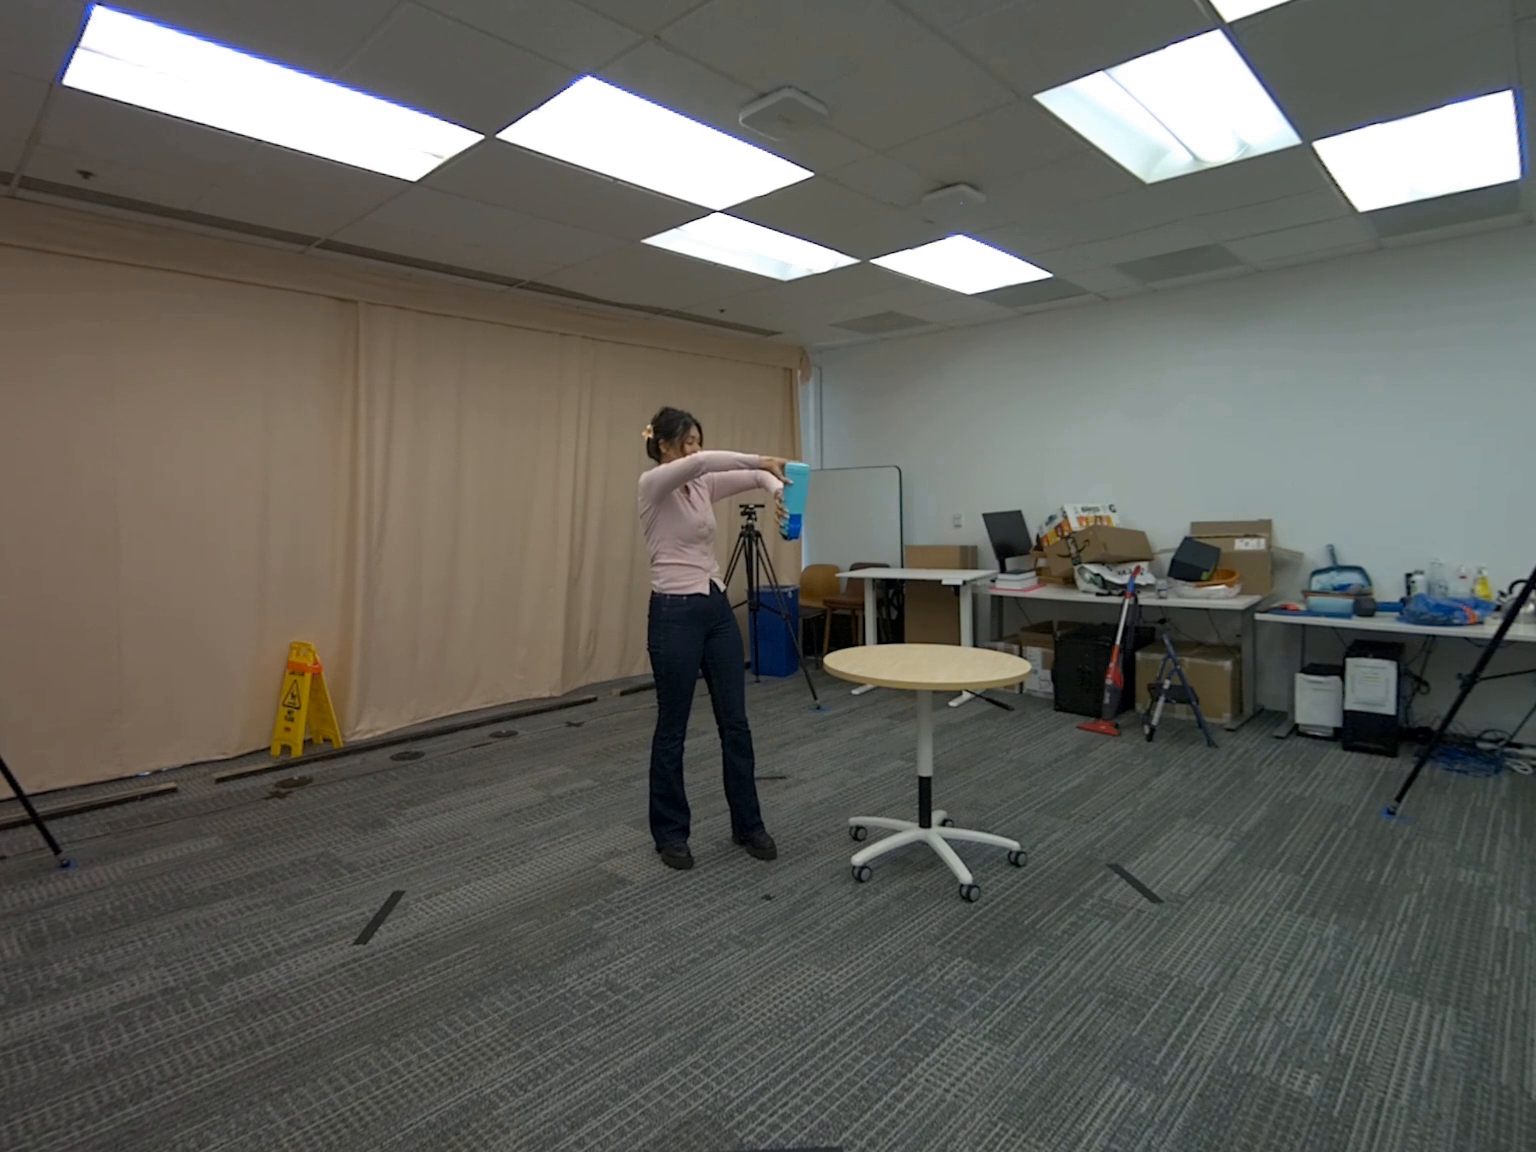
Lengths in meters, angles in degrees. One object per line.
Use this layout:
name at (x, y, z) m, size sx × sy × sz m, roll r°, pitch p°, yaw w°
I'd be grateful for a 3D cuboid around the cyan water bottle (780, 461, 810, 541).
cyan water bottle at (0.100, -0.261, 3.055) m, size 0.092 × 0.281 × 0.093 m, roll 5°, pitch 13°, yaw -3°
